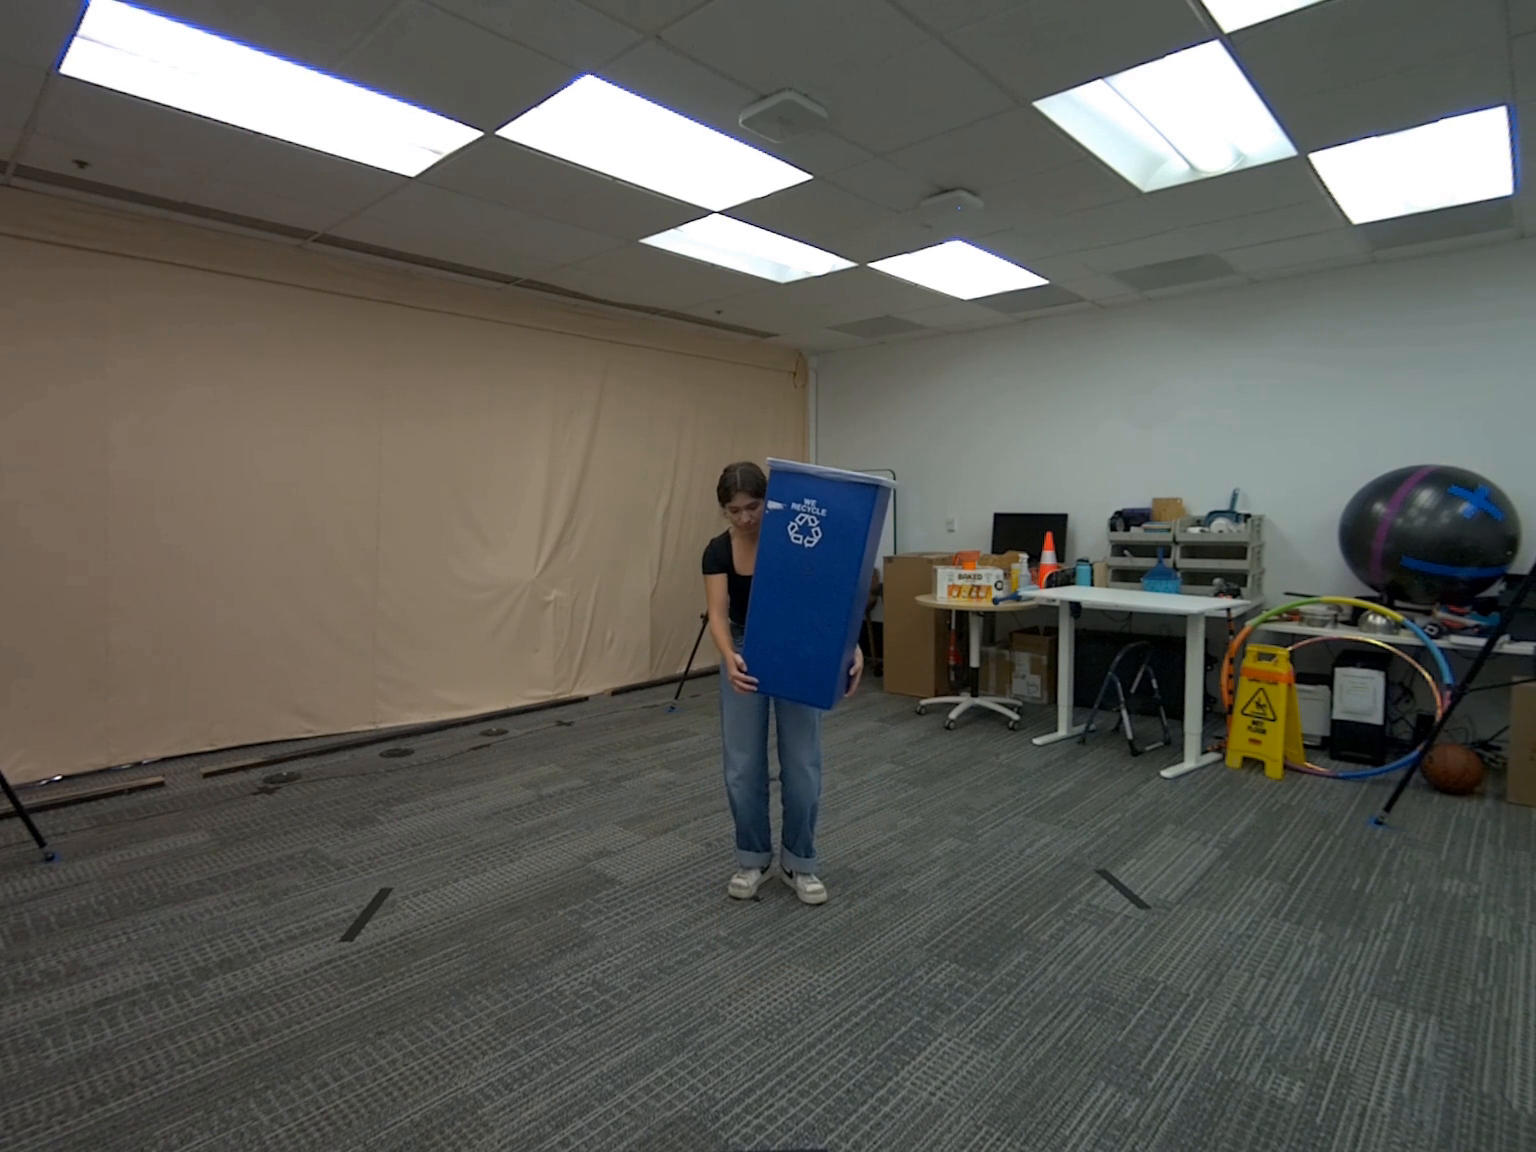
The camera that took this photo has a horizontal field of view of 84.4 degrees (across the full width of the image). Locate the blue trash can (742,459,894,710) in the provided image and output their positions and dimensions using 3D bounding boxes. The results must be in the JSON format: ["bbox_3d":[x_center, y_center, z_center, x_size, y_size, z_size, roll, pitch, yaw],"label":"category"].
[{"bbox_3d":[0.154,0.019,2.664,0.381,0.712,0.372,11,6,16],"label":"blue trash can"}]
